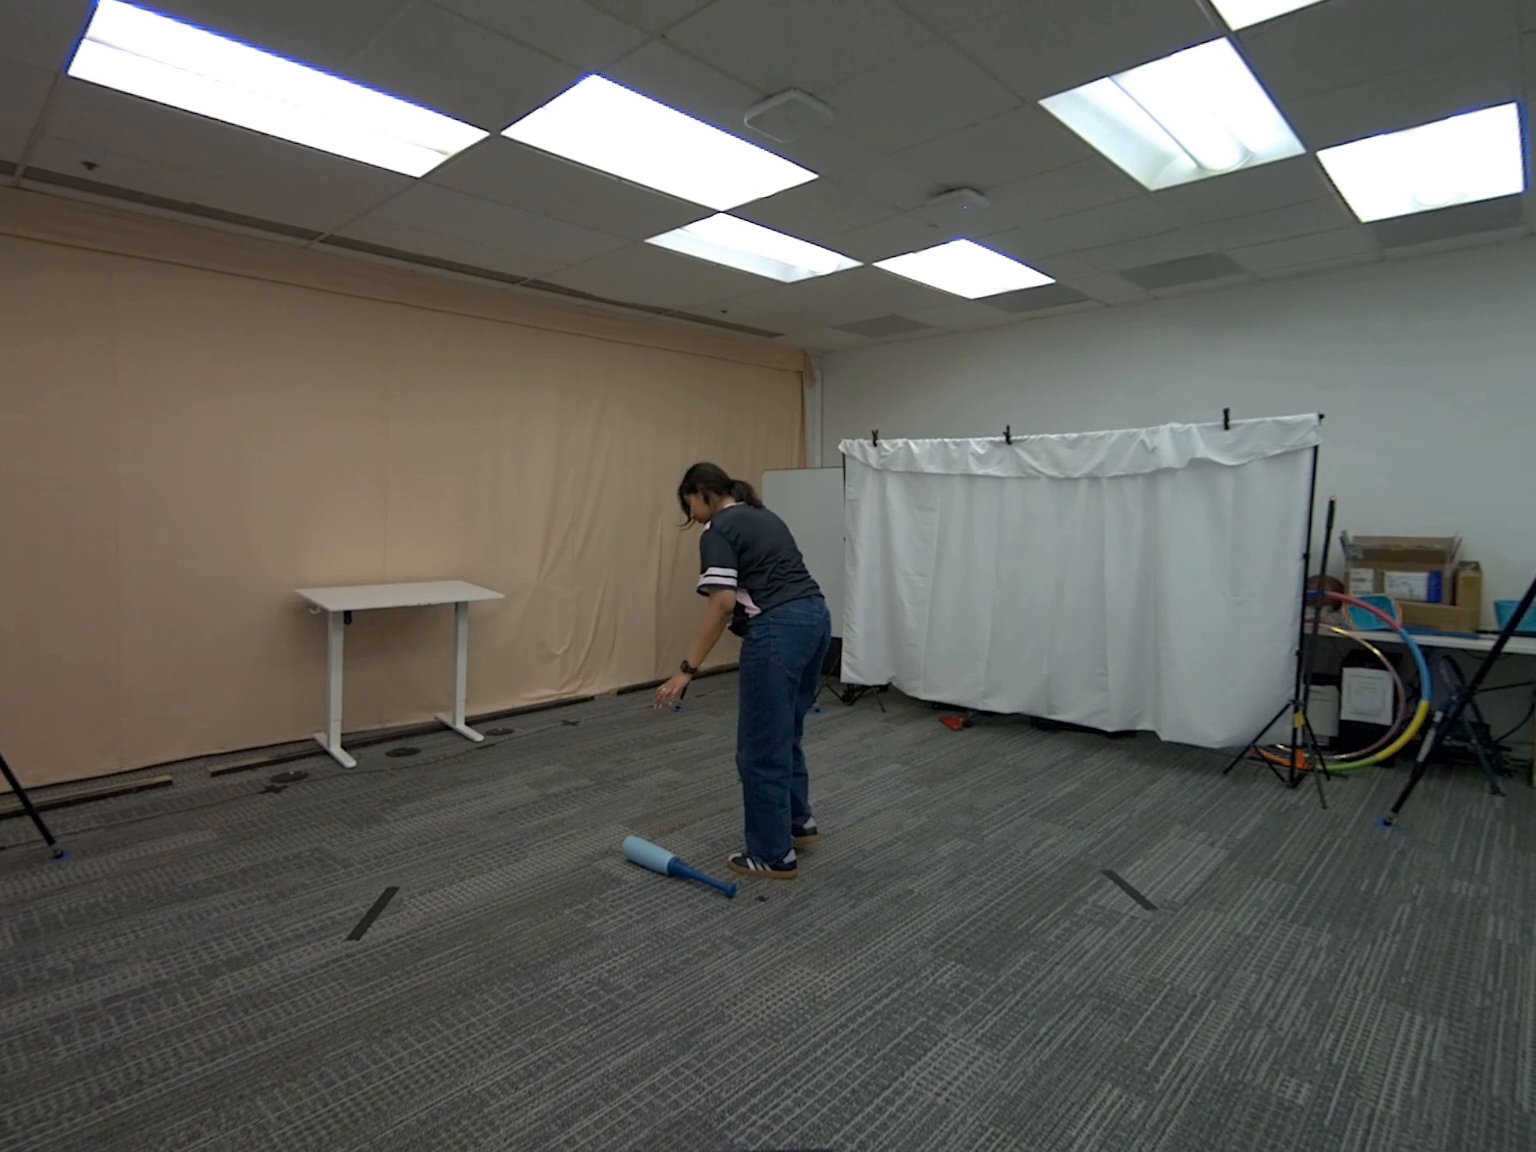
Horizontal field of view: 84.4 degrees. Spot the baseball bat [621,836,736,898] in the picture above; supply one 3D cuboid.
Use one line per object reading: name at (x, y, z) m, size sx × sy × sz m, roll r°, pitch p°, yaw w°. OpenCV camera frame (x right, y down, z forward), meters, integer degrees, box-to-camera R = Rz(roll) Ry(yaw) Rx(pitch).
baseball bat at (-0.338, 1.096, 3.163) m, size 0.561 × 0.089 × 0.086 m, roll 7°, pitch 7°, yaw 40°
